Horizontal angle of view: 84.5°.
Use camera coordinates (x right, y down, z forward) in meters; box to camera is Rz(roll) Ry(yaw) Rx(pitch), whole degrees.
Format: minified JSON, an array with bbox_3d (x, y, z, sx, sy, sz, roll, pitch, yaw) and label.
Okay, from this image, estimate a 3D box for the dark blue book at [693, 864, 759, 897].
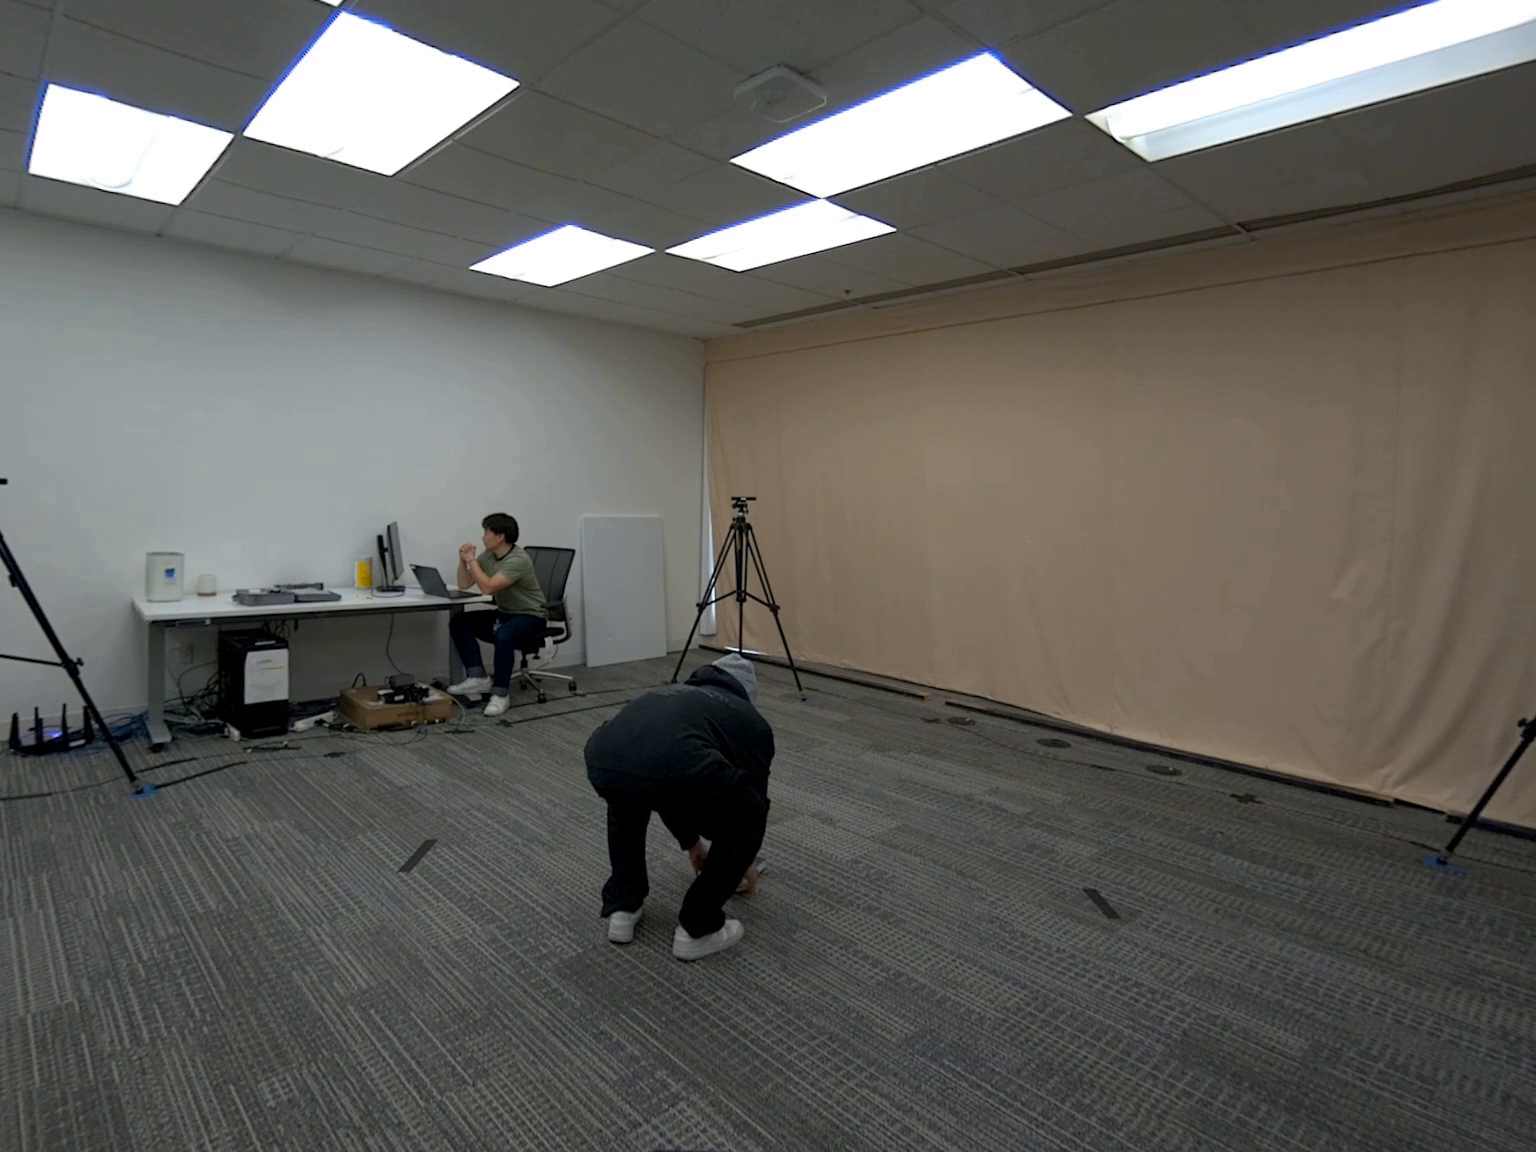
[{"bbox_3d":[-0.131,1.086,3.091,0.166,0.045,0.241,5,4,24],"label":"dark blue book"}]
